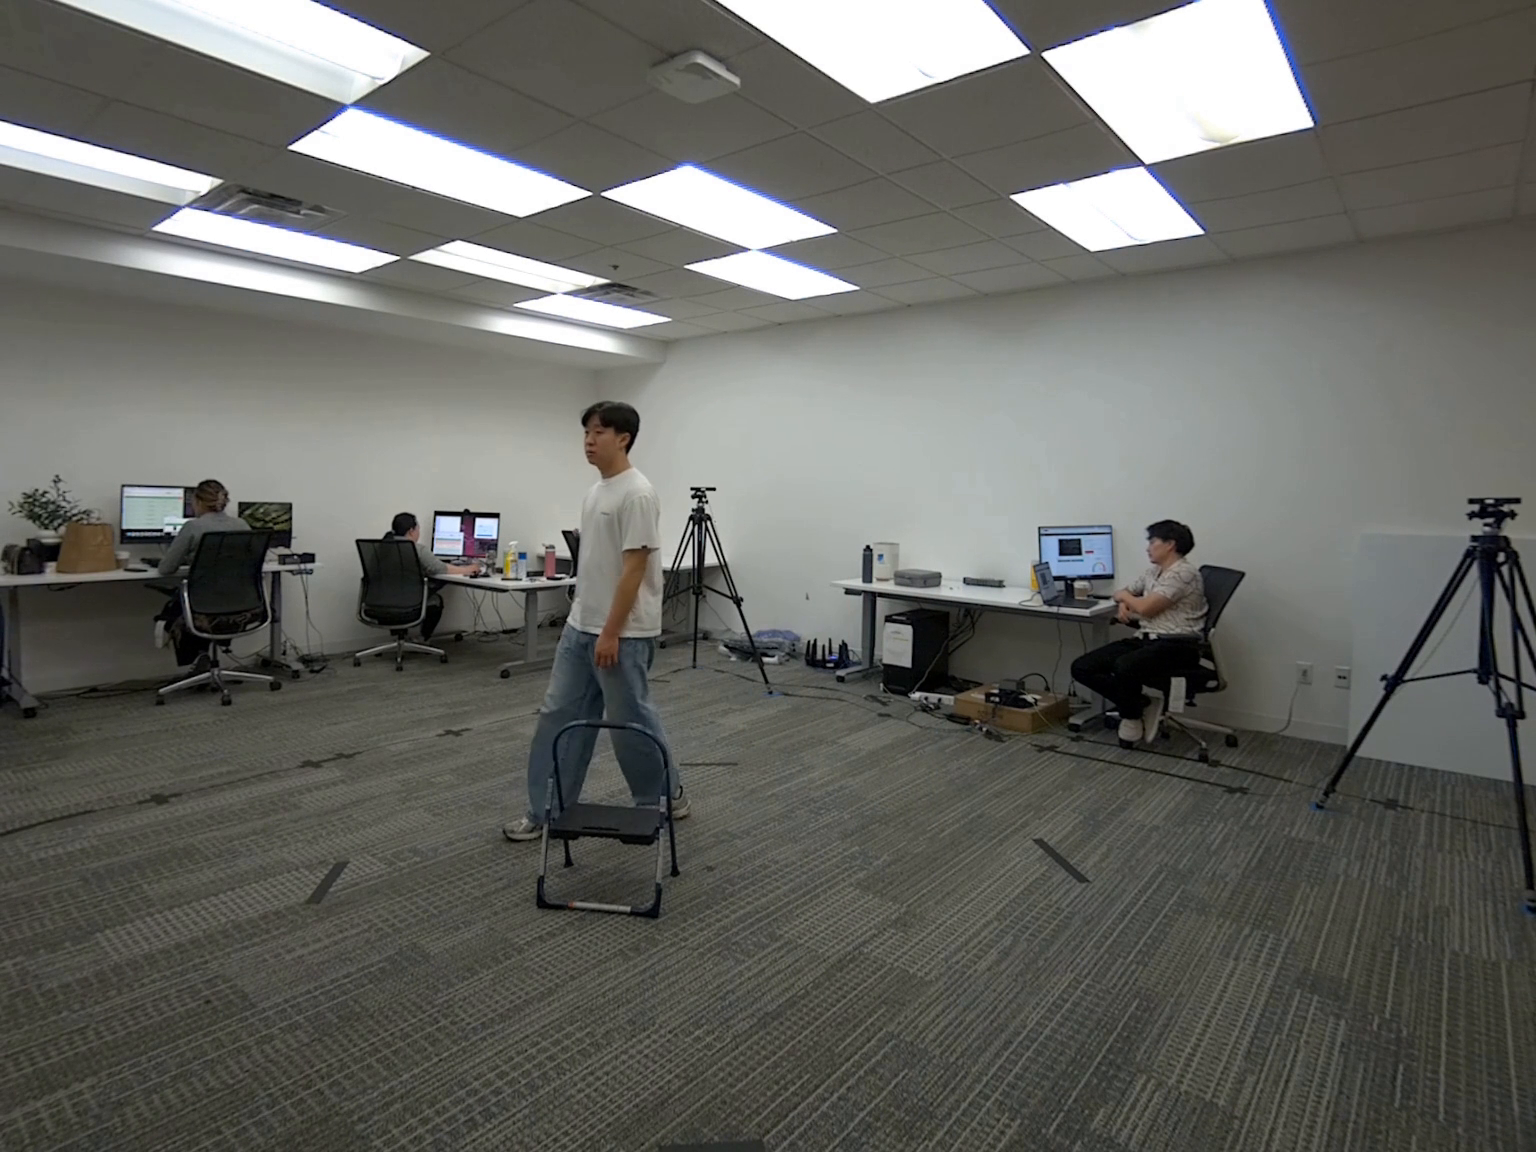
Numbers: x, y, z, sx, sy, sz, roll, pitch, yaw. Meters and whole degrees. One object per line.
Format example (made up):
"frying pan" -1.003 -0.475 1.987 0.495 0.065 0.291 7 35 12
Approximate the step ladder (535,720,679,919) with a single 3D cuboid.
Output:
"step ladder" -0.551 0.776 2.916 0.434 0.604 0.347 1 3 7
